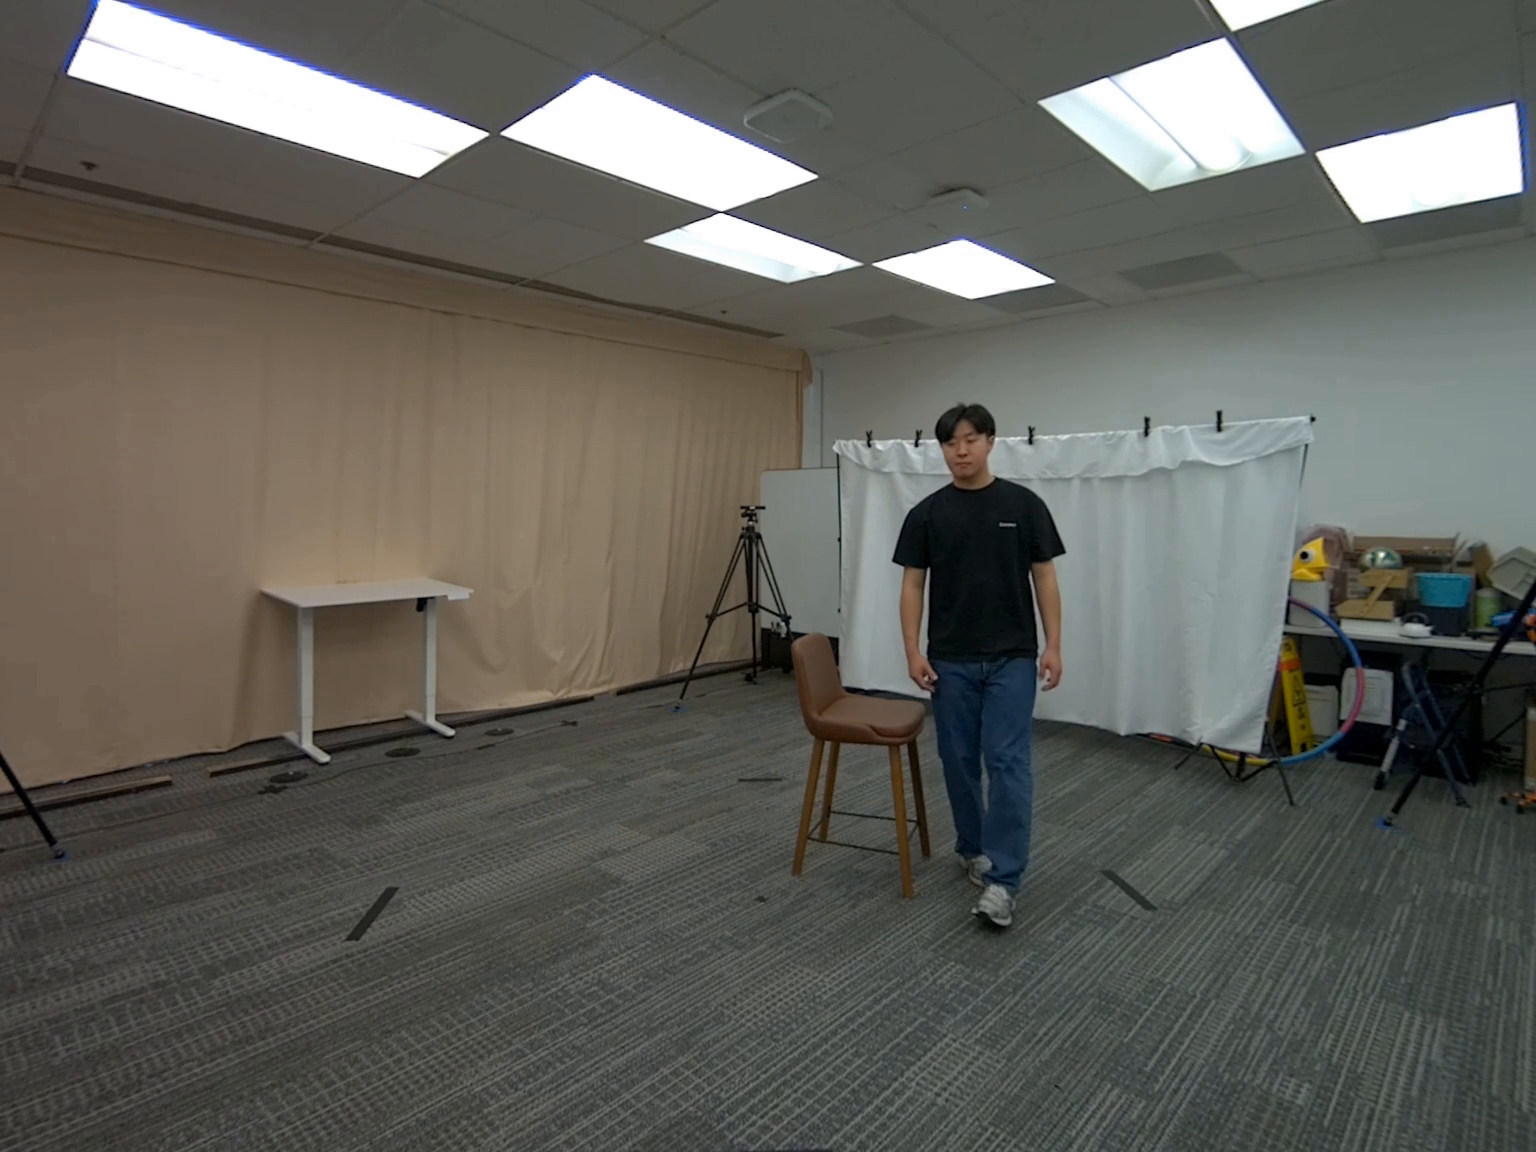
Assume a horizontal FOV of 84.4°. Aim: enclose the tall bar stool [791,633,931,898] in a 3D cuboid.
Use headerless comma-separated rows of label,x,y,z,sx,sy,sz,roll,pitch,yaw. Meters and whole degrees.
tall bar stool,0.365,0.686,3.239,0.479,0.889,0.446,0,2,24
